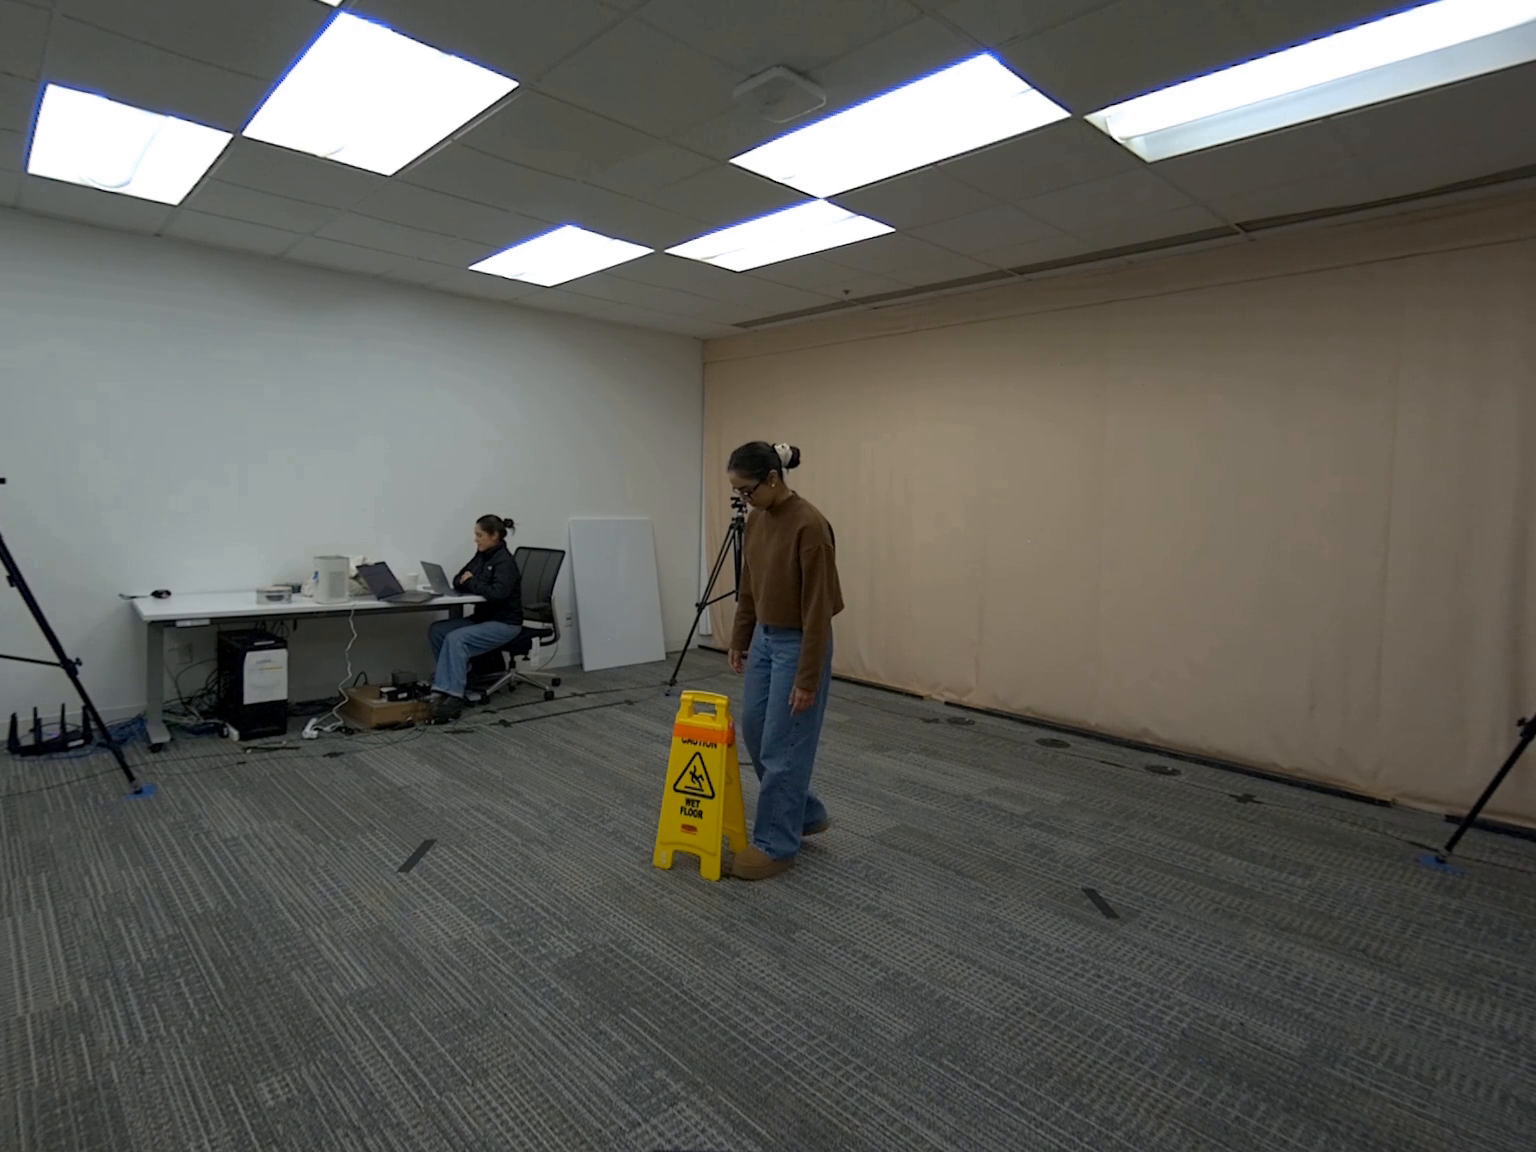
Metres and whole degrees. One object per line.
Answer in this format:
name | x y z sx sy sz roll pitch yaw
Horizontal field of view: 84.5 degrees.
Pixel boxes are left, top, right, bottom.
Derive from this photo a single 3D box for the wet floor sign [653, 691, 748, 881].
wet floor sign | -0.253 0.770 3.224 0.287 0.644 0.285 3 4 23
